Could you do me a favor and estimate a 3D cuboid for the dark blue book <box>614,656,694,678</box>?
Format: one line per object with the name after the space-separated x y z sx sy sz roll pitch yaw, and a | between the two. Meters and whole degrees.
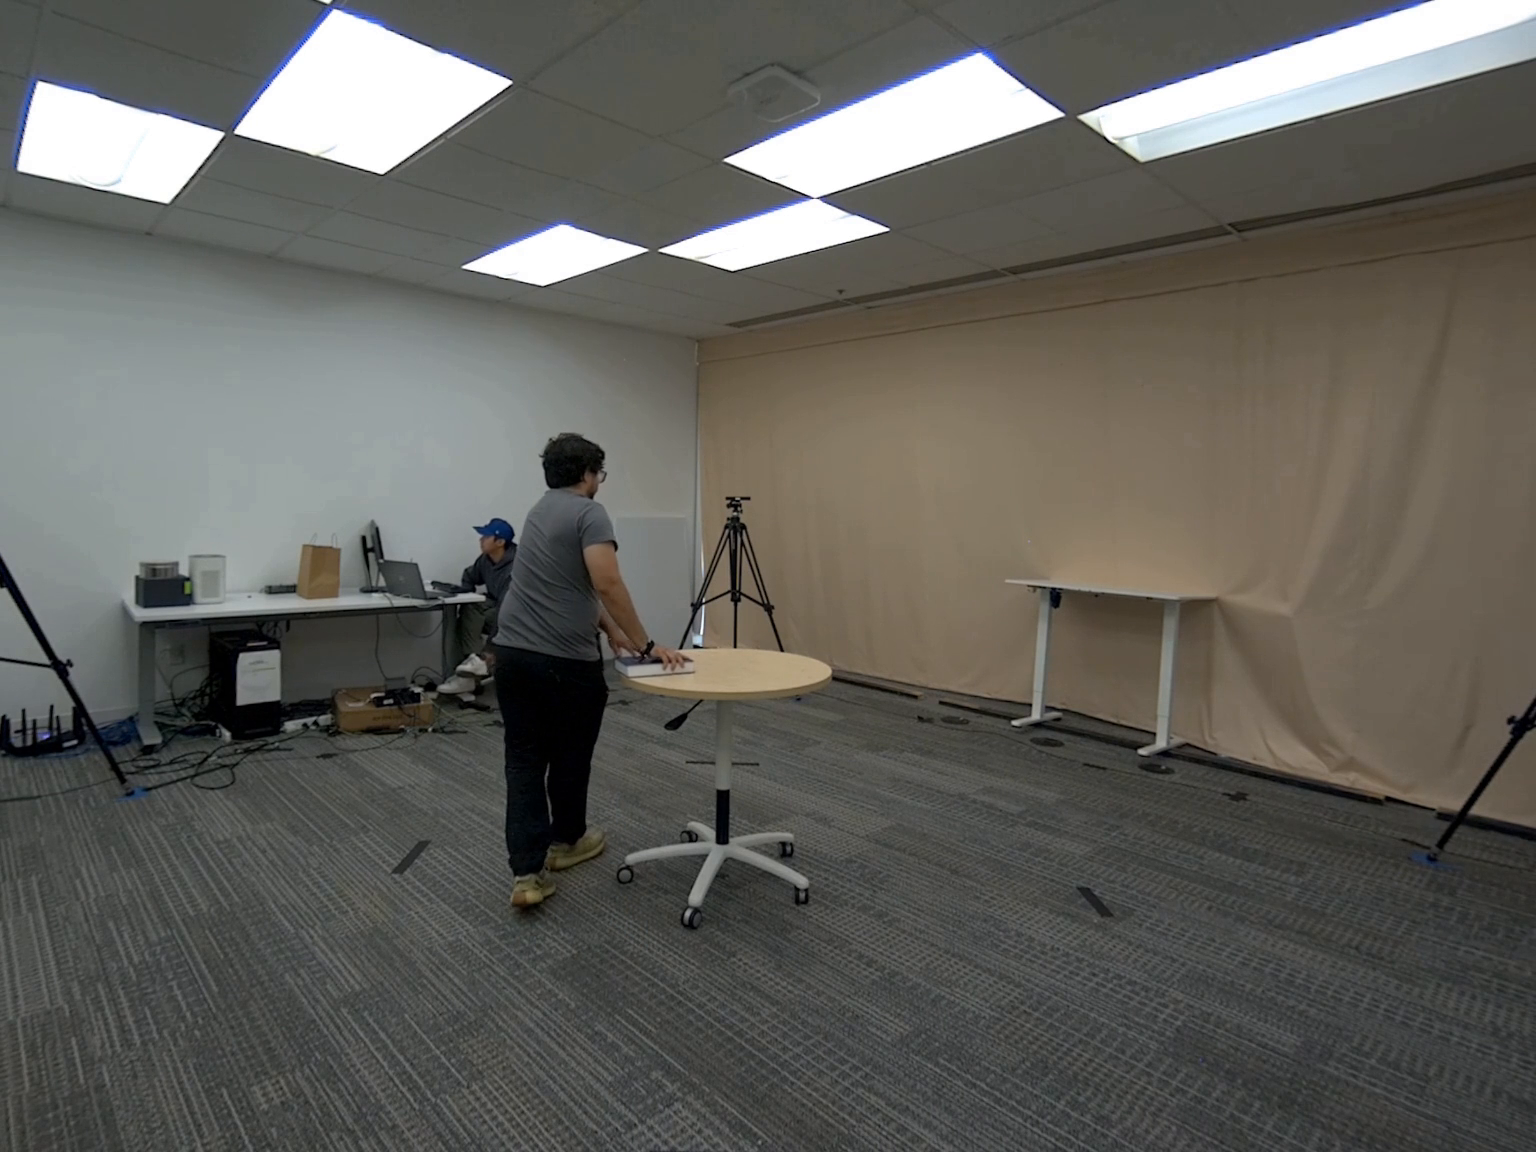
-0.407 0.315 2.948 0.241 0.045 0.167 -2 6 -25 | dark blue book
